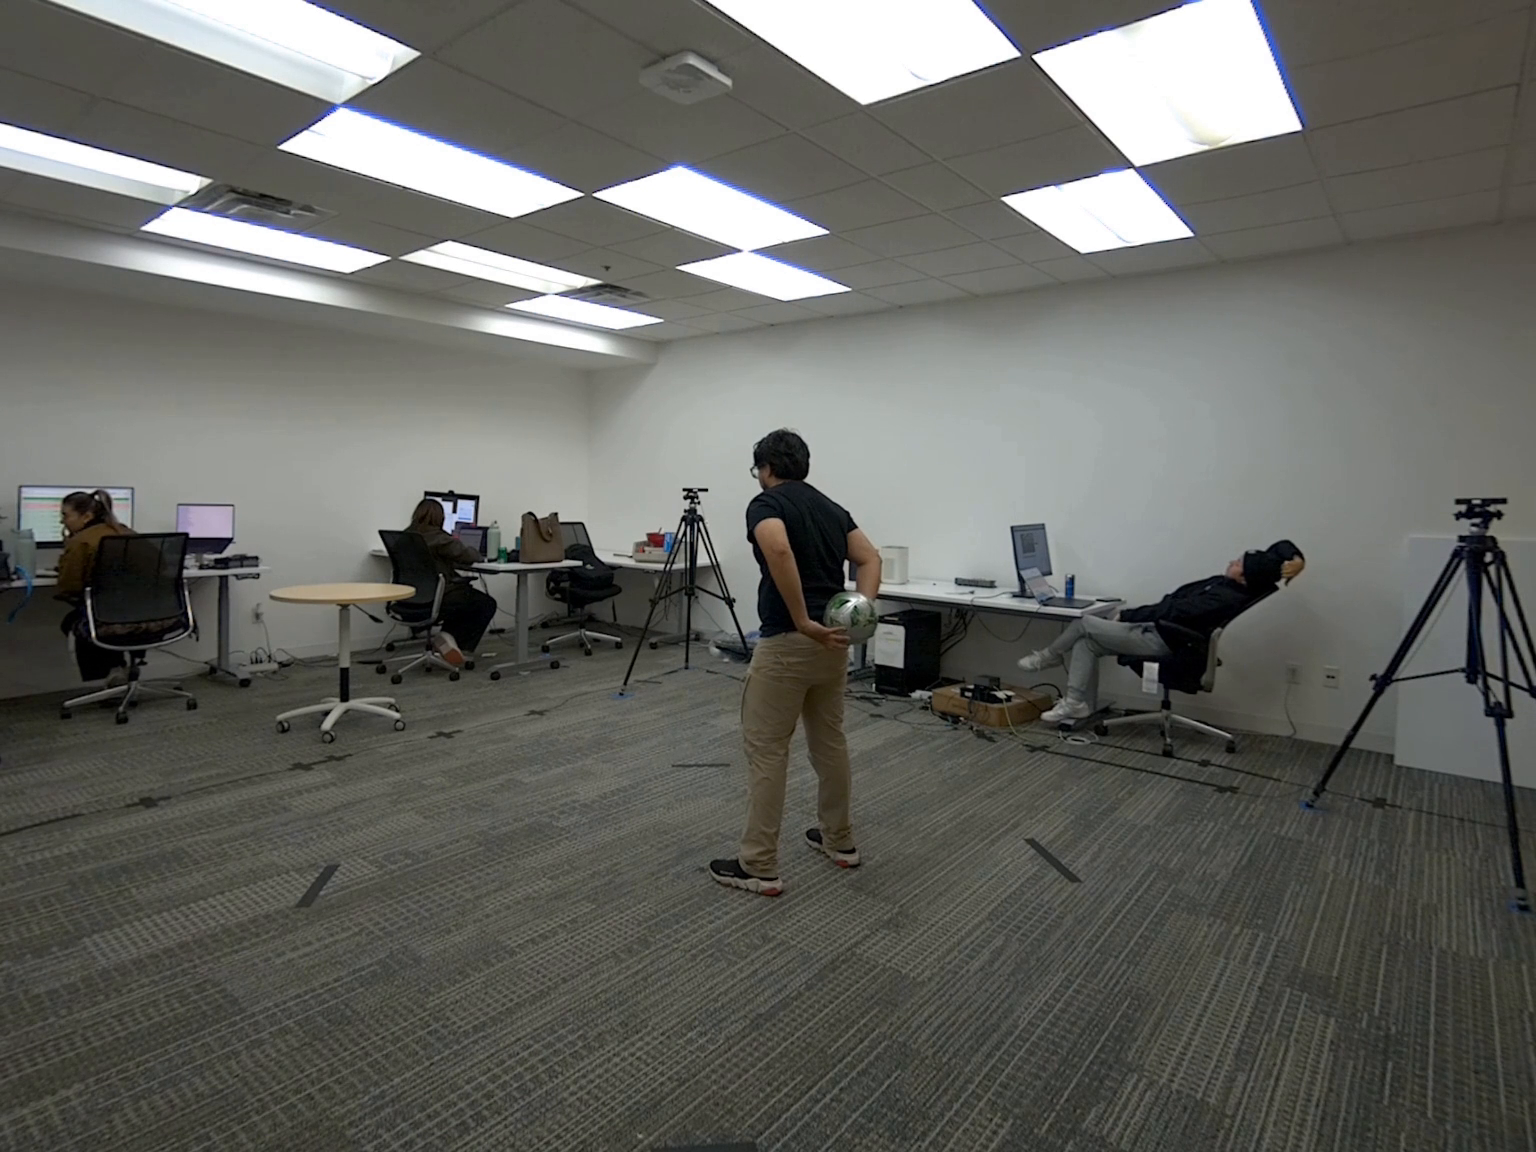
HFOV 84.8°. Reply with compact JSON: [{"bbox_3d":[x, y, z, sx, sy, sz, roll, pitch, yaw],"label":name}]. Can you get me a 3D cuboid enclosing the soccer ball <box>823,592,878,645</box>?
[{"bbox_3d":[0.273,0.140,2.935,0.187,0.187,0.188,1,4,-2],"label":"soccer ball"}]
